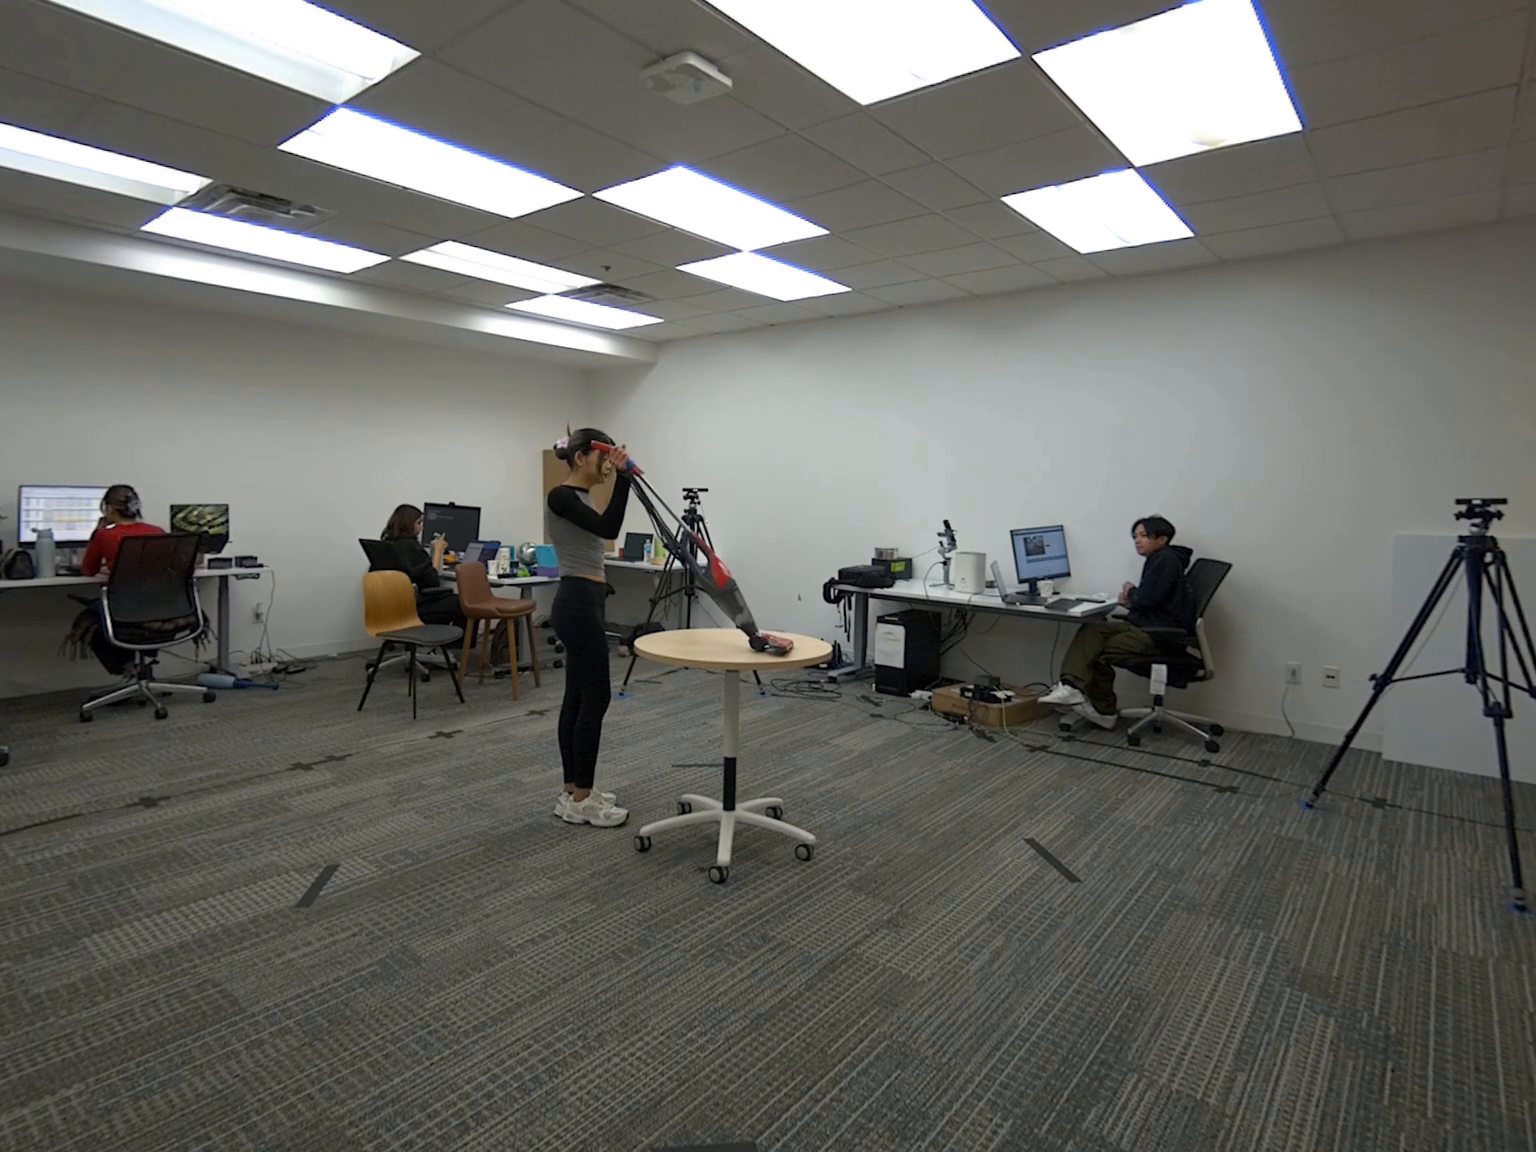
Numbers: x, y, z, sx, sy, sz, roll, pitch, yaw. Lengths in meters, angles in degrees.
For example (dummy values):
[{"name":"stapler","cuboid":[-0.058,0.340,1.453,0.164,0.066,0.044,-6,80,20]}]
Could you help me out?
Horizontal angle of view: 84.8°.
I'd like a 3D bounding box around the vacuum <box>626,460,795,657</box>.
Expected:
[{"name":"vacuum","cuboid":[-0.326,-0.131,3.263,0.144,1.063,0.249,-43,-9,3]}]
